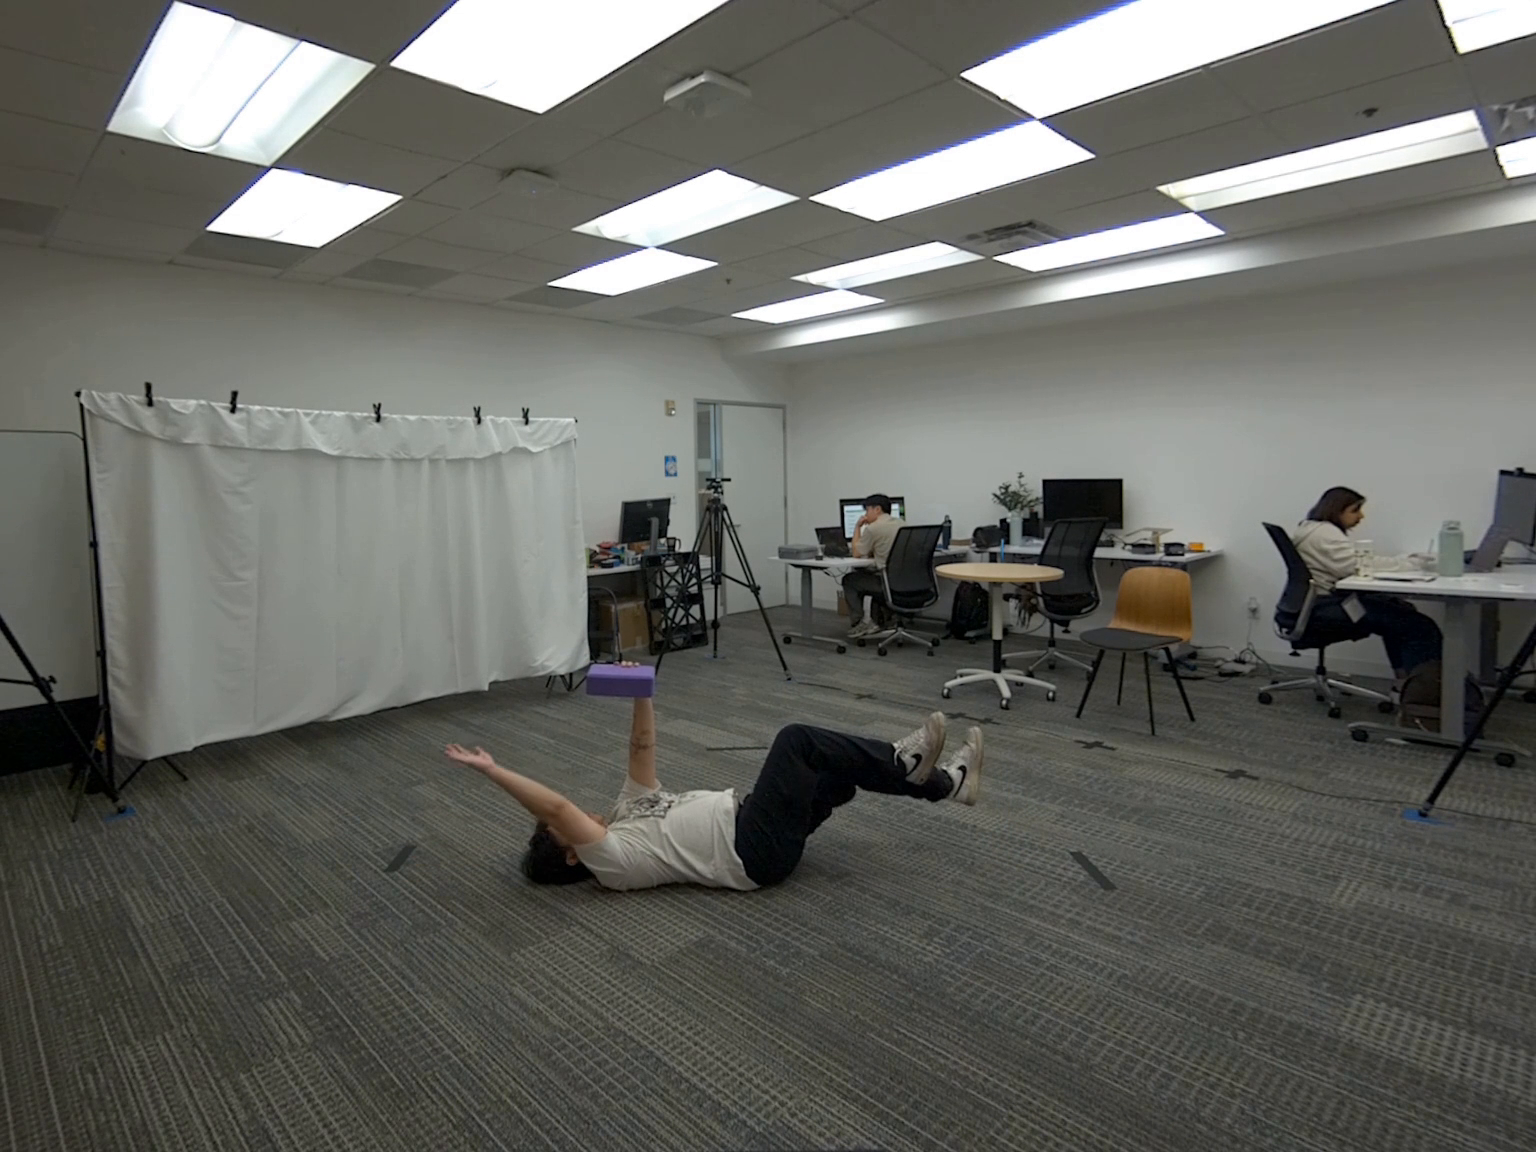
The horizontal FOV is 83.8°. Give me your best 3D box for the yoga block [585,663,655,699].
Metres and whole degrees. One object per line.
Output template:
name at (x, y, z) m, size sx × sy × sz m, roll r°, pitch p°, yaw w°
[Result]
yoga block at (-0.522, 0.364, 2.988) m, size 0.229 × 0.076 × 0.150 m, roll 4°, pitch 7°, yaw -1°
